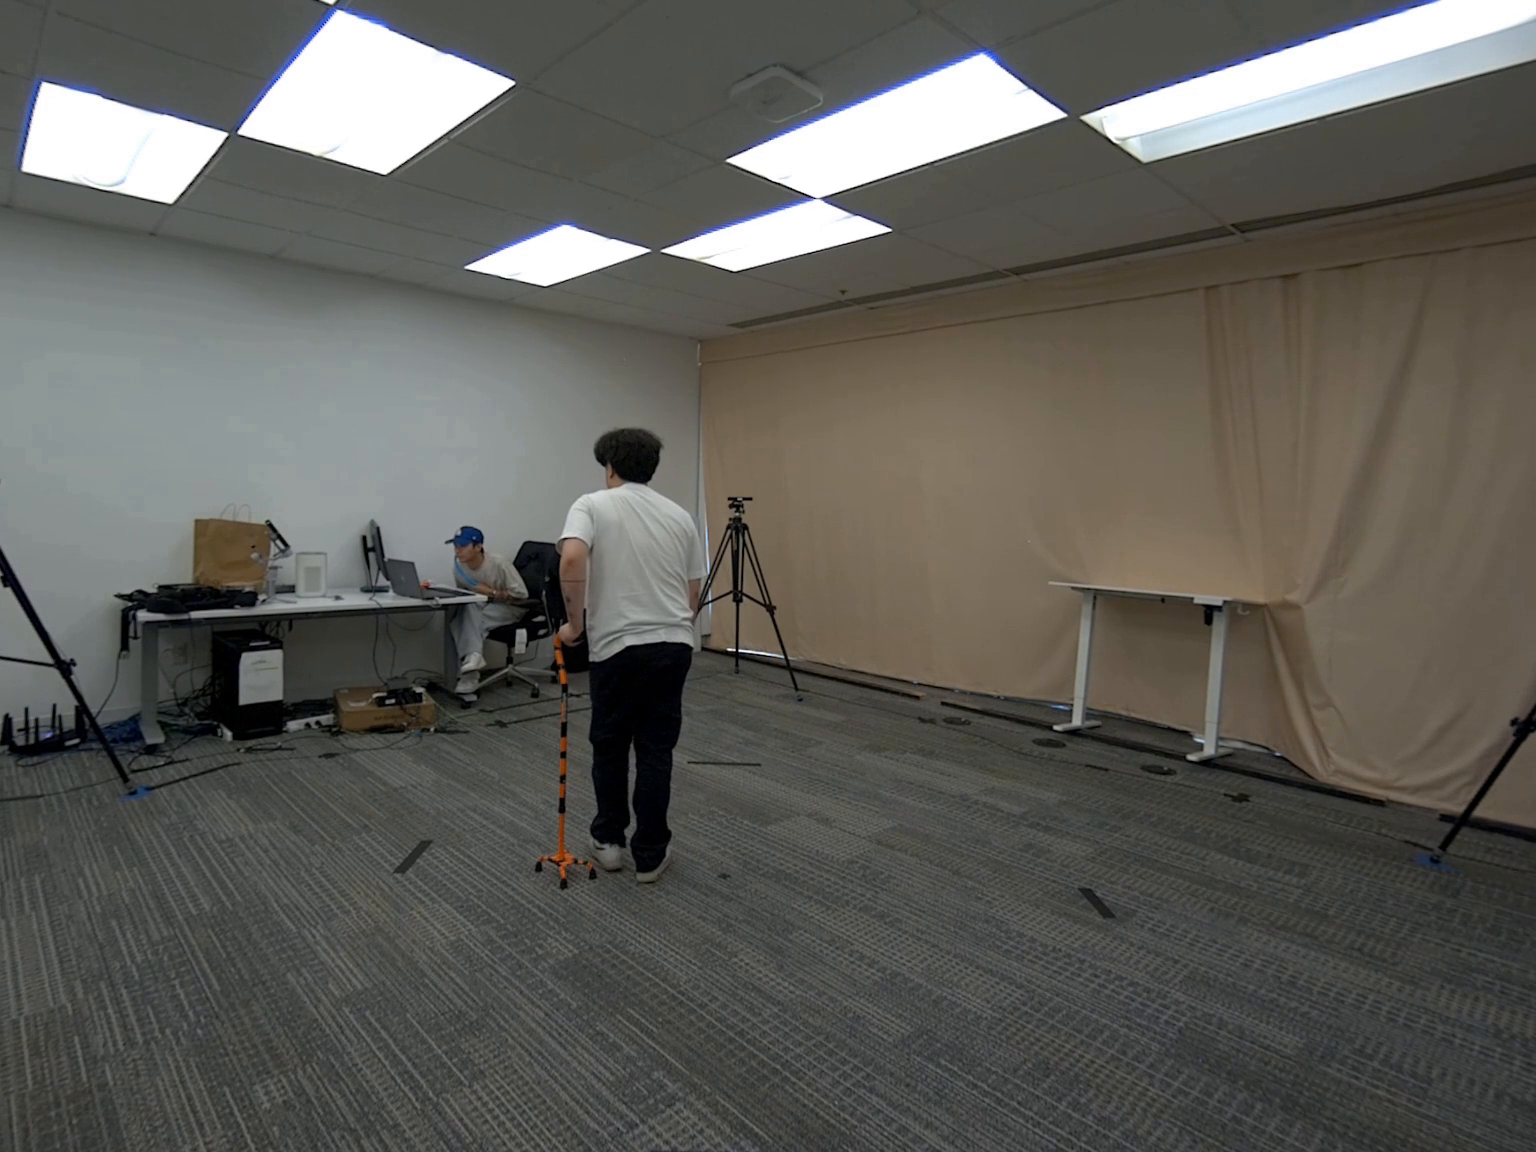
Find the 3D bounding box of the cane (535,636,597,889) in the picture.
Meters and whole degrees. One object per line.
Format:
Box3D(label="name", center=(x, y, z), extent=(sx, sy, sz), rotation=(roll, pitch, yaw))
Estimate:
Box3D(label="cane", center=(-0.737, 0.641, 3.066), extent=(0.148, 0.906, 0.211), rotation=(-1, 3, -39))
